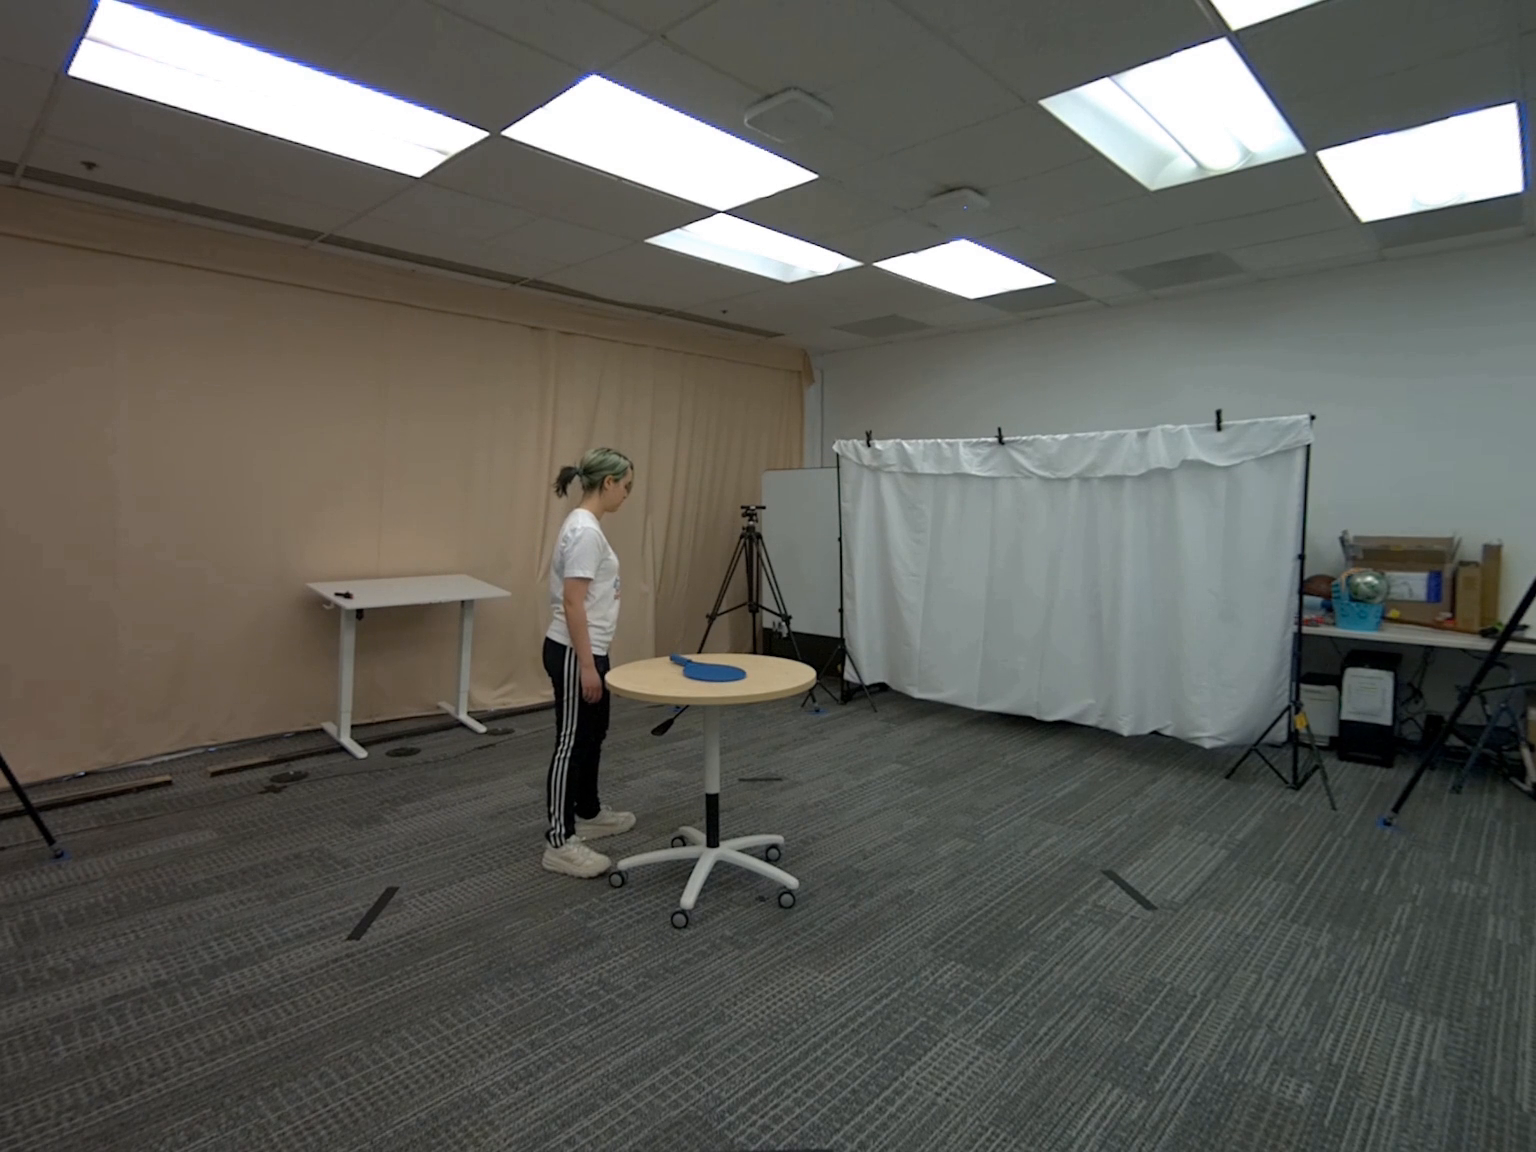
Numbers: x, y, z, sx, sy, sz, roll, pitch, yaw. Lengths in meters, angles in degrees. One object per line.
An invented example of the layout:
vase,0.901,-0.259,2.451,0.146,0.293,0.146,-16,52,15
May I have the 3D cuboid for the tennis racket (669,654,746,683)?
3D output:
tennis racket,-0.244,0.344,3.088,0.207,0.031,0.447,-3,7,-37
